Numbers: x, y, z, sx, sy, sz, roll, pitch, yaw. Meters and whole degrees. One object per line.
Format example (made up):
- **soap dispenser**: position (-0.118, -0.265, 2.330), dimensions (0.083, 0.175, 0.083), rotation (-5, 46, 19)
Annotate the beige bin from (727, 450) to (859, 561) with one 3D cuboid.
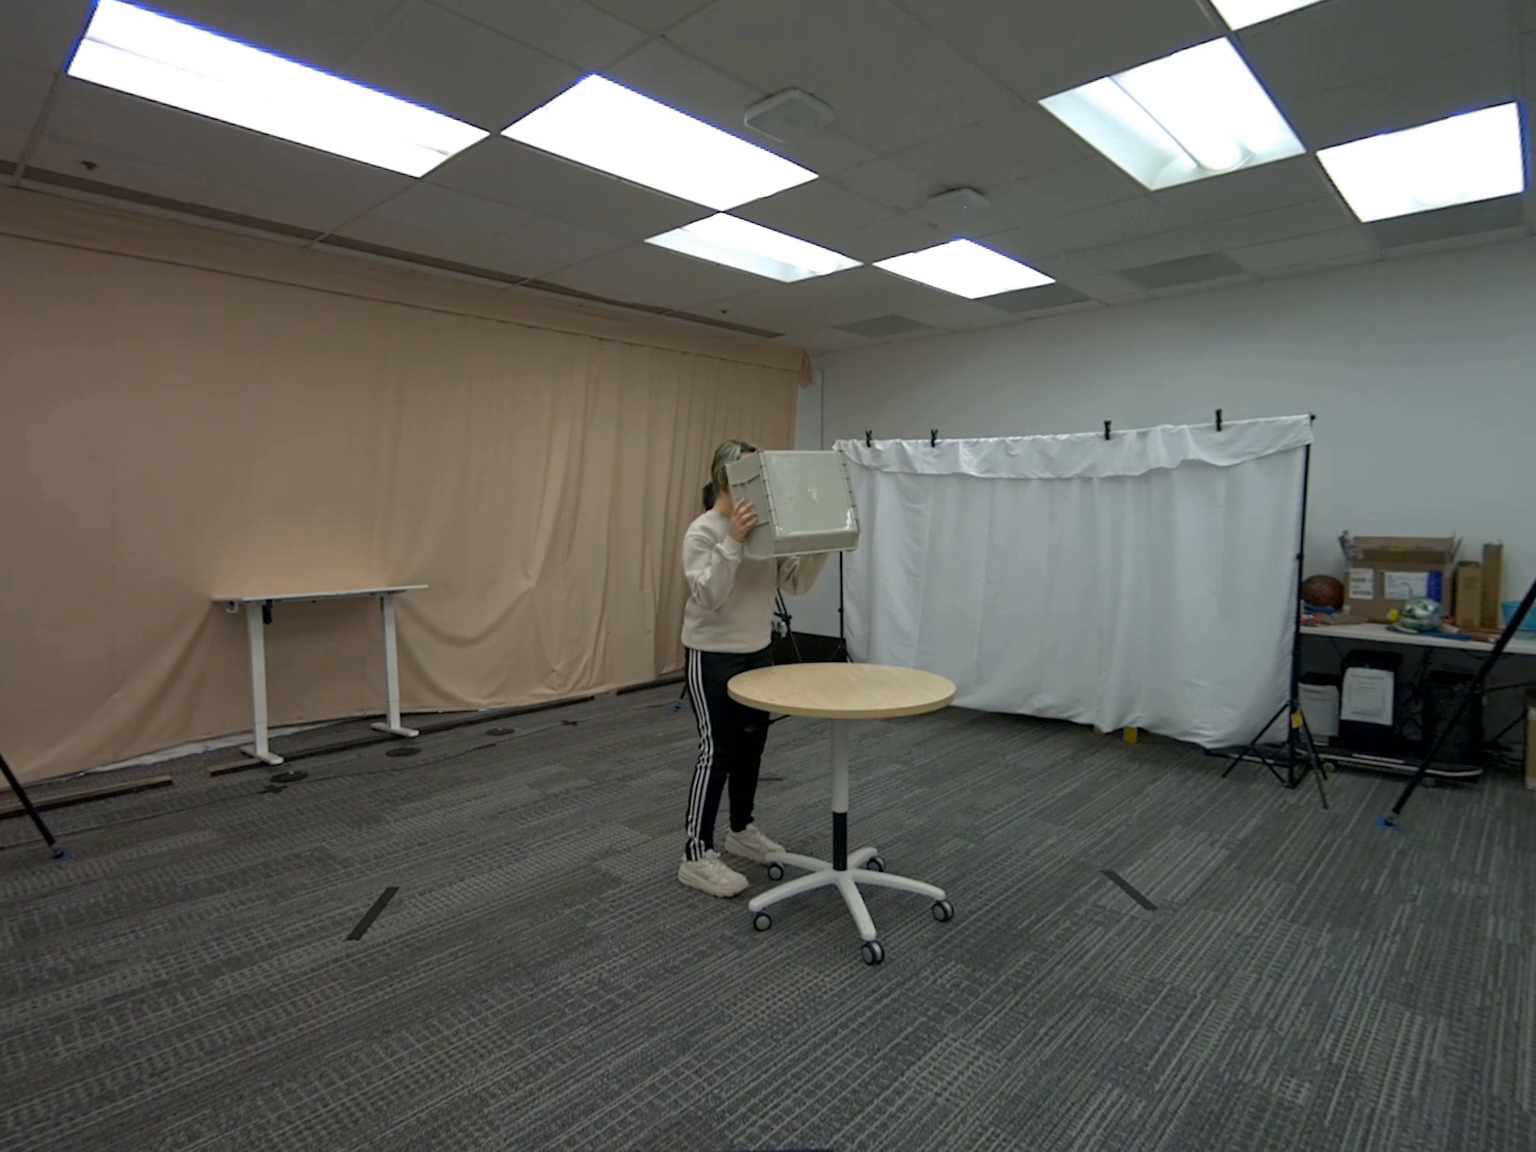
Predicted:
- **beige bin**: position (0.106, -0.246, 2.995), dimensions (0.410, 0.379, 0.193), rotation (-6, -8, -38)
